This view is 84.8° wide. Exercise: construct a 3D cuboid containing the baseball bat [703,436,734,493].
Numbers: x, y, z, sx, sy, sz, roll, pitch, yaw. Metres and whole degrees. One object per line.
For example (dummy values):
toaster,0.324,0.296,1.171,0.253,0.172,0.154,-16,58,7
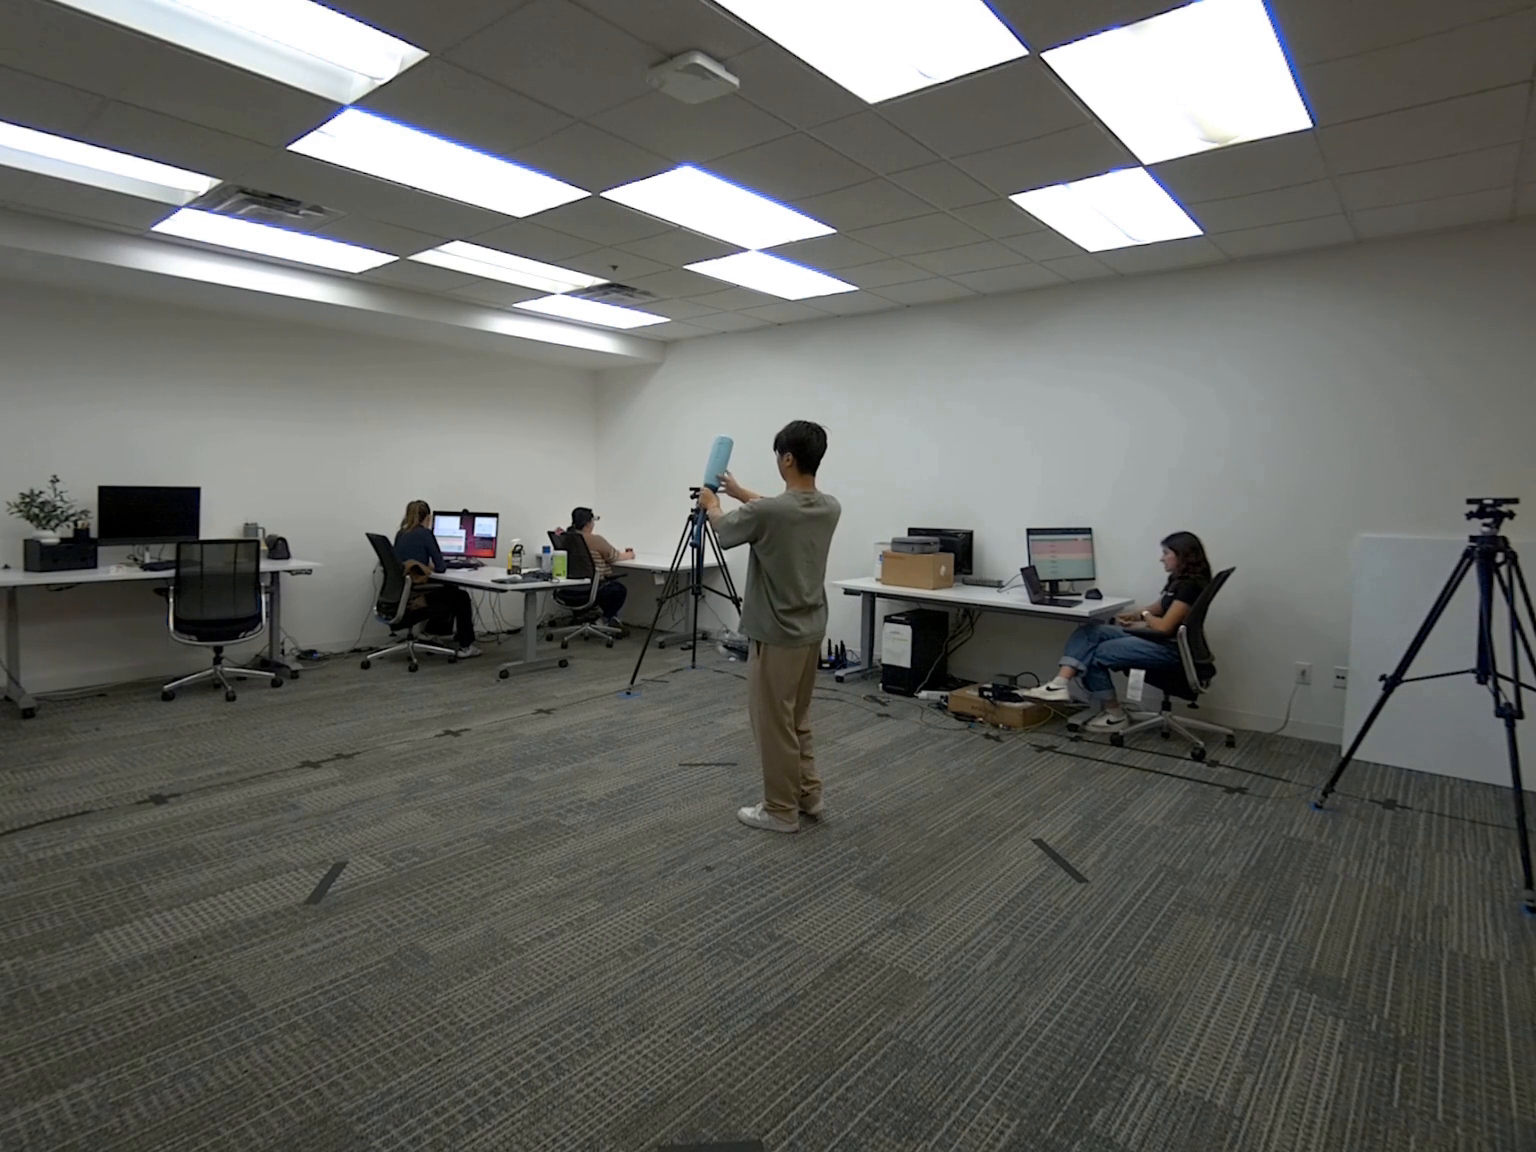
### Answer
baseball bat,-0.271,-0.382,3.821,0.089,0.548,0.088,14,-15,2
